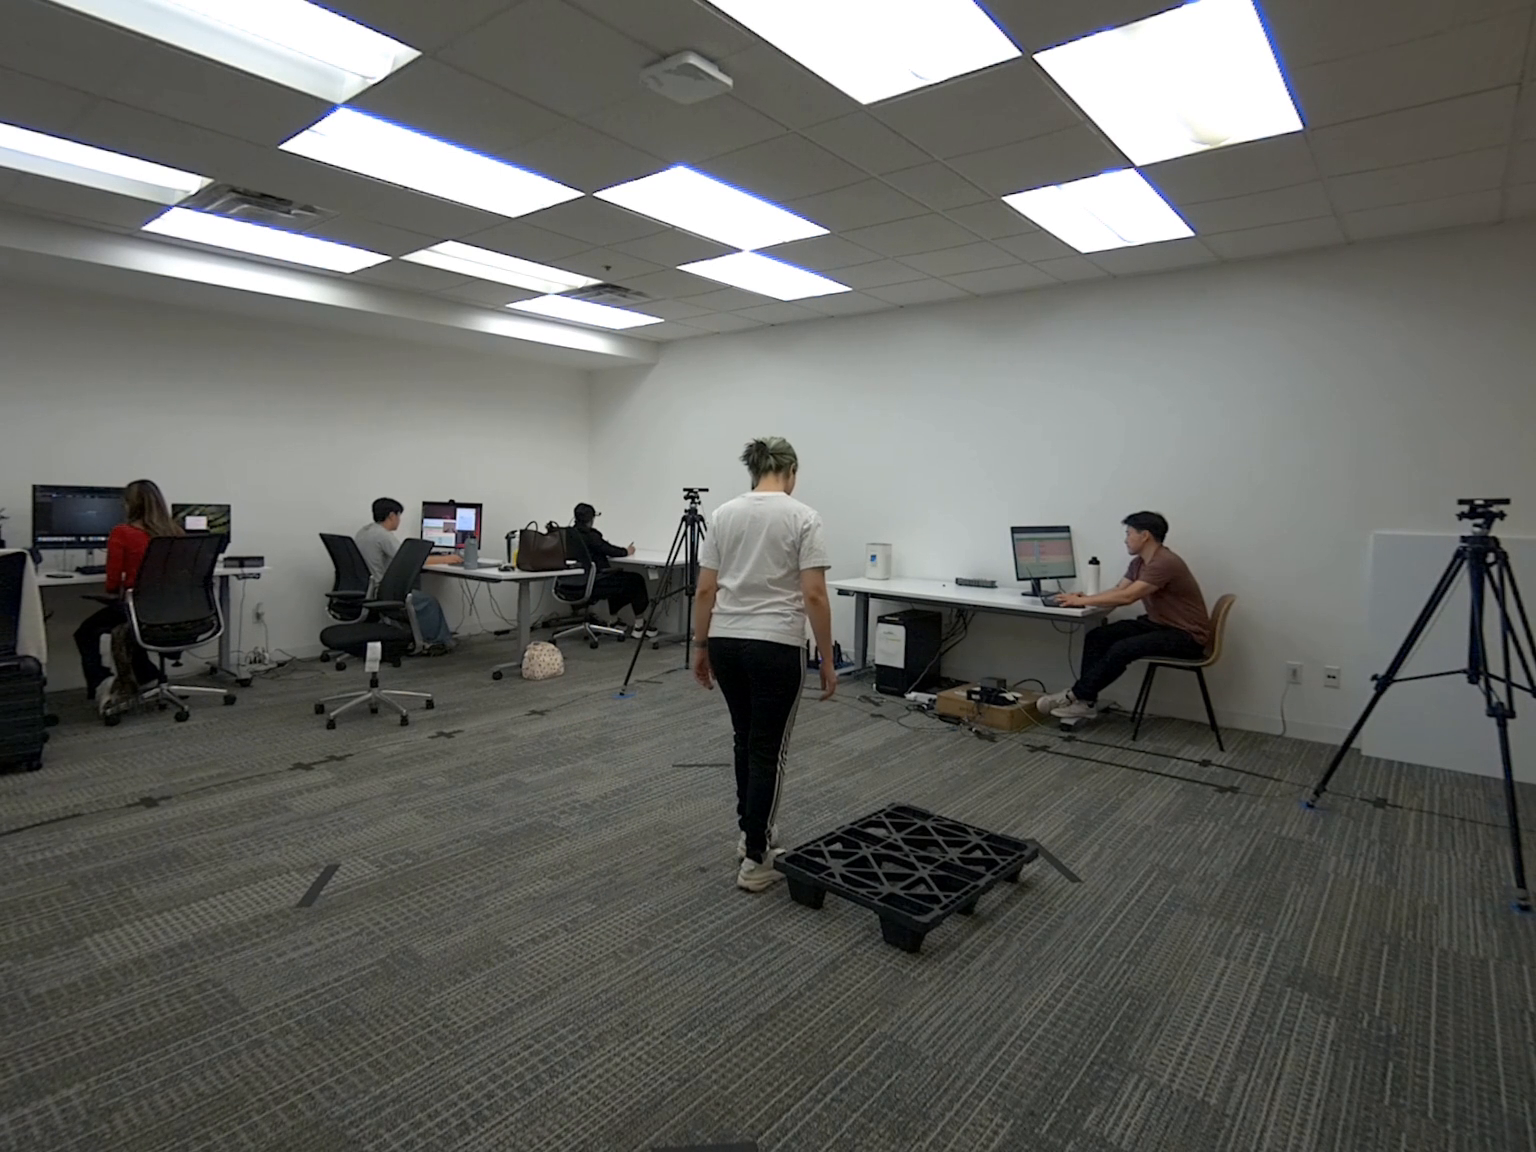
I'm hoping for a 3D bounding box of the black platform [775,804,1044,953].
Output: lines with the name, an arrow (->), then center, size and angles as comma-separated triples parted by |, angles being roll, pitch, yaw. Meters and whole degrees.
black platform -> 0.481, 1.029, 2.987 | 0.626, 0.143, 0.781 | 6, 7, 42
